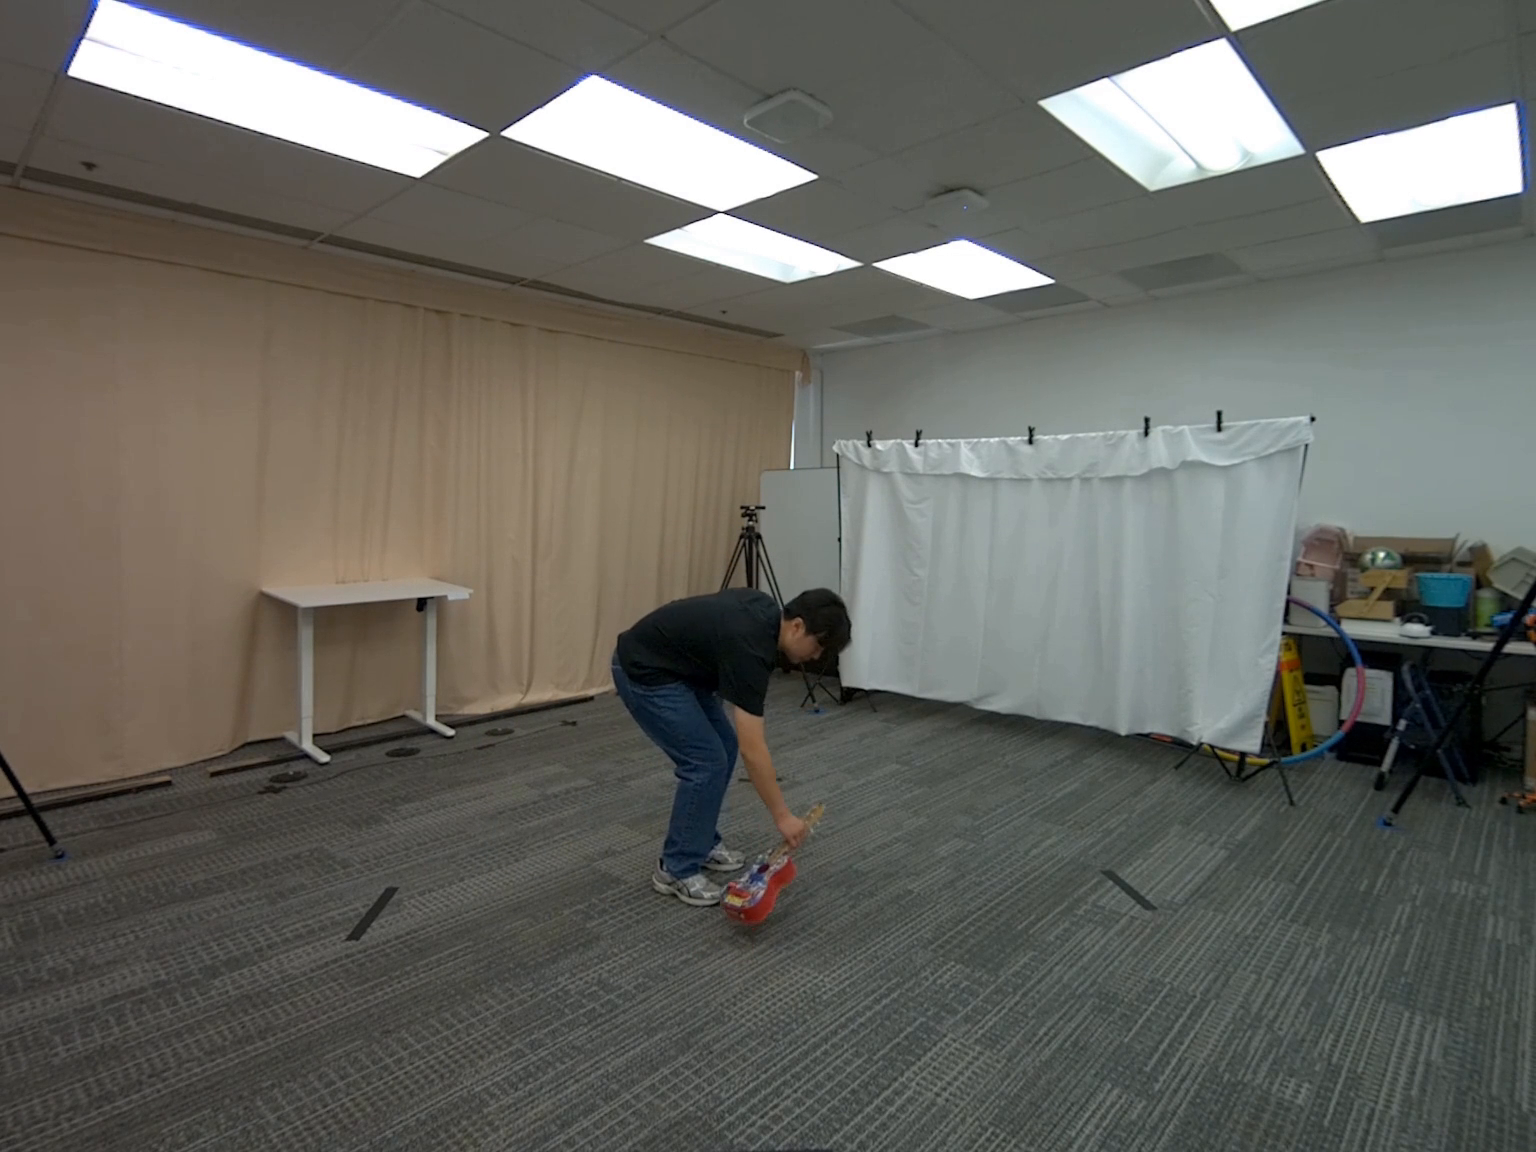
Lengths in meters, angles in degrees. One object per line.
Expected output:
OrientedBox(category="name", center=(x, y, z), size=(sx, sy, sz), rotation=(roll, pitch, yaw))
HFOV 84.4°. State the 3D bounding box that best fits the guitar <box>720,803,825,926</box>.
OrientedBox(category="guitar", center=(0.064, 0.945, 2.804), size=(0.491, 0.070, 0.198), rotation=(-35, 16, -26))
